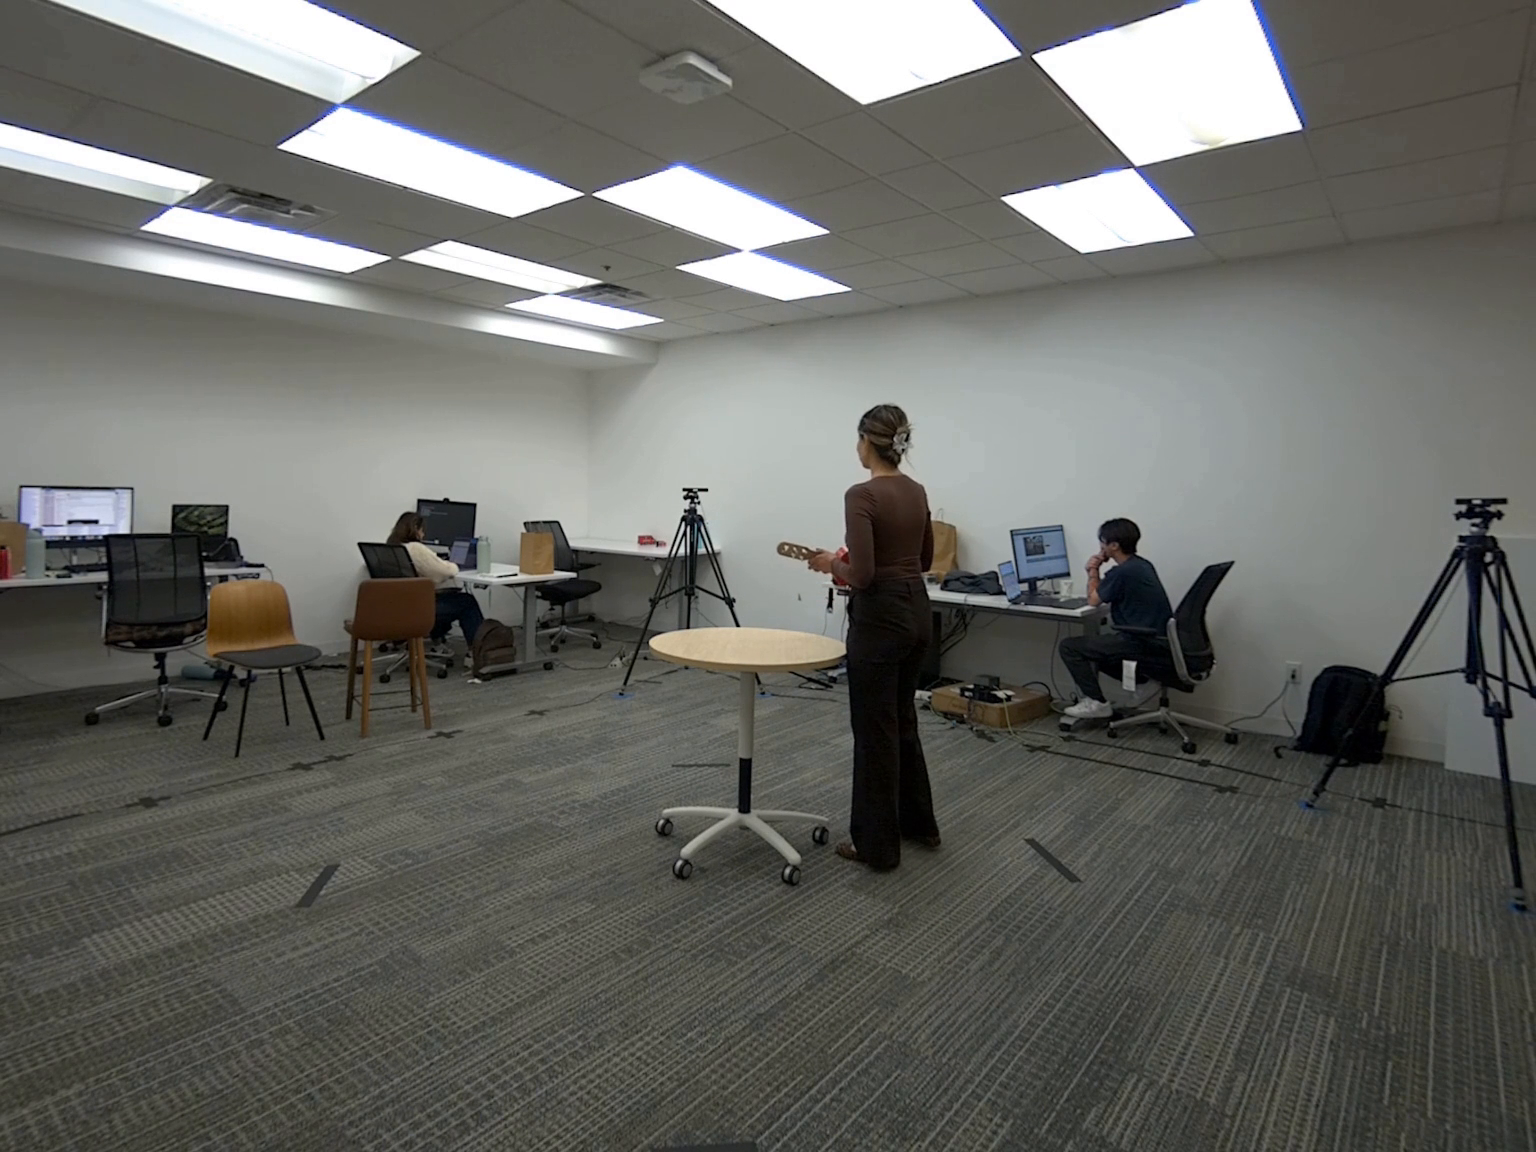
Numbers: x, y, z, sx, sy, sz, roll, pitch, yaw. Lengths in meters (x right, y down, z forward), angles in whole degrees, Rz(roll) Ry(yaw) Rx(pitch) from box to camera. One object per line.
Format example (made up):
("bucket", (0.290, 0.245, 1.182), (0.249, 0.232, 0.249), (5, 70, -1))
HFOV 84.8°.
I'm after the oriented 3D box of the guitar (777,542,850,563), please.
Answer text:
("guitar", (0.248, -0.032, 3.307), (0.491, 0.189, 0.073), (1, 32, -13))
